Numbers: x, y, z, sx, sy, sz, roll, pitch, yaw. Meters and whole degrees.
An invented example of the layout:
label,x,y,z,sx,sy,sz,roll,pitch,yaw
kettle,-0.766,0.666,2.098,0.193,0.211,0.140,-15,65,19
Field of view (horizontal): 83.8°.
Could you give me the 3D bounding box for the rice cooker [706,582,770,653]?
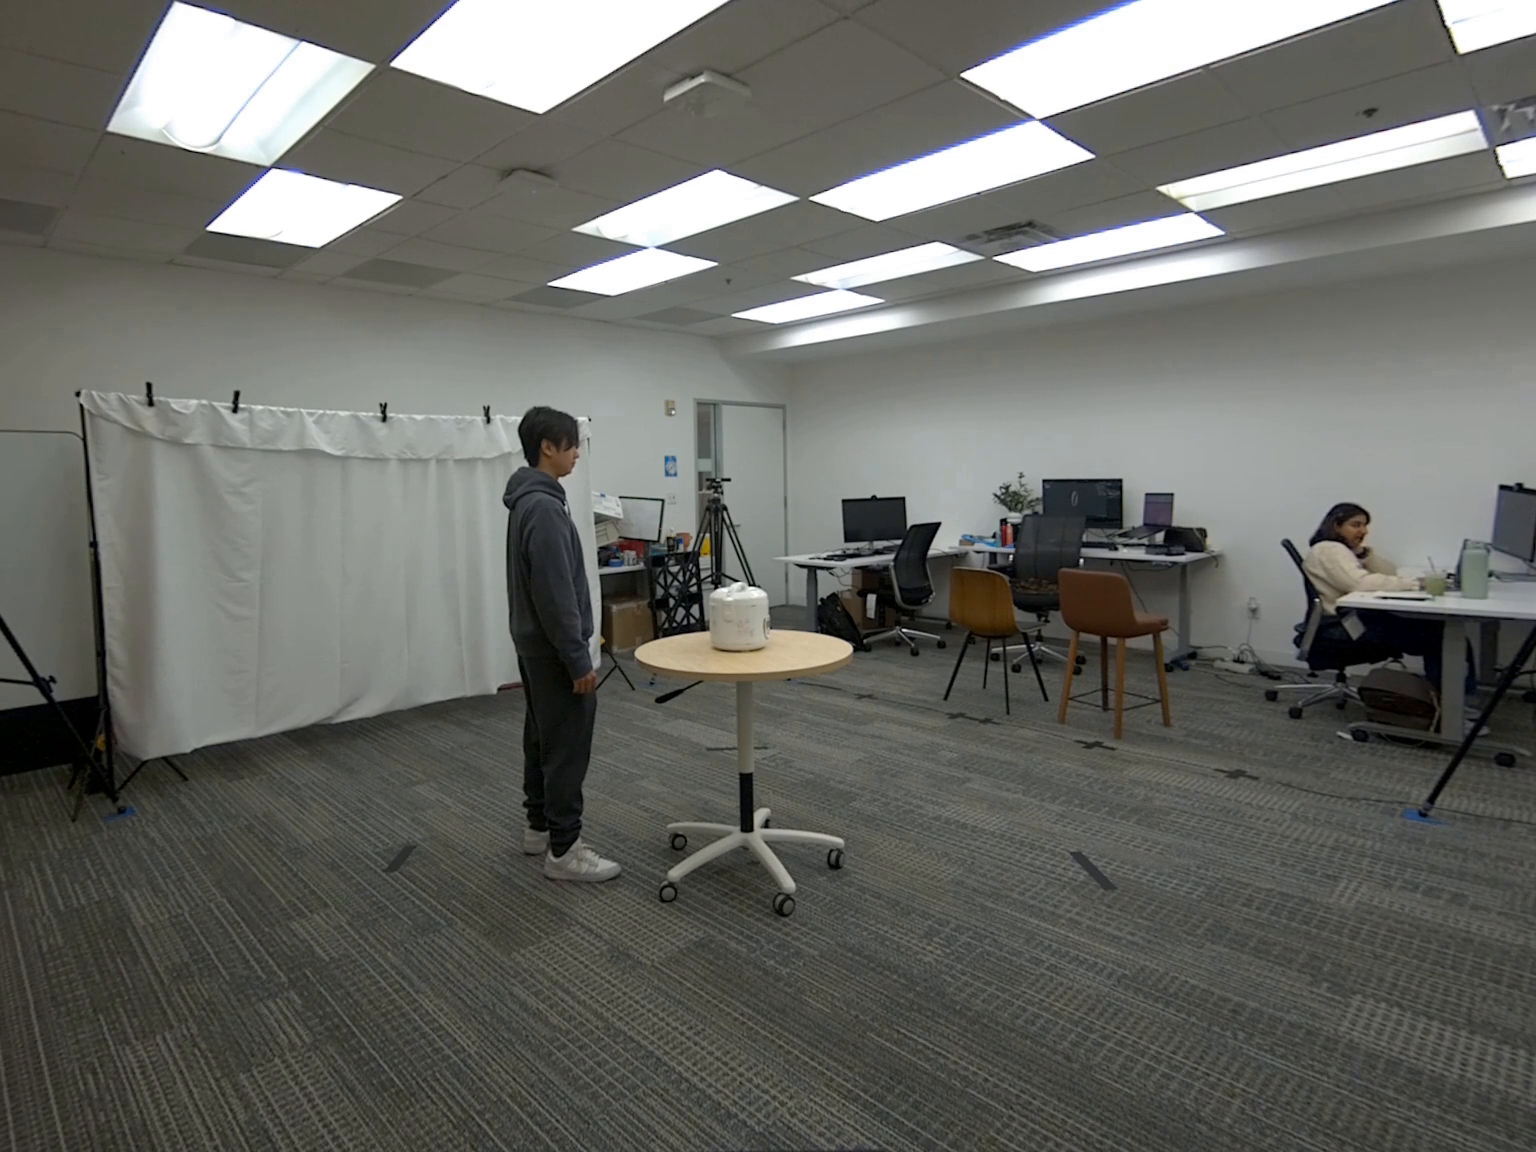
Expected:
label,x,y,z,sx,sy,sz,roll,pitch,yaw
rice cooker,-0.102,0.136,3.030,0.222,0.232,0.217,0,5,21
